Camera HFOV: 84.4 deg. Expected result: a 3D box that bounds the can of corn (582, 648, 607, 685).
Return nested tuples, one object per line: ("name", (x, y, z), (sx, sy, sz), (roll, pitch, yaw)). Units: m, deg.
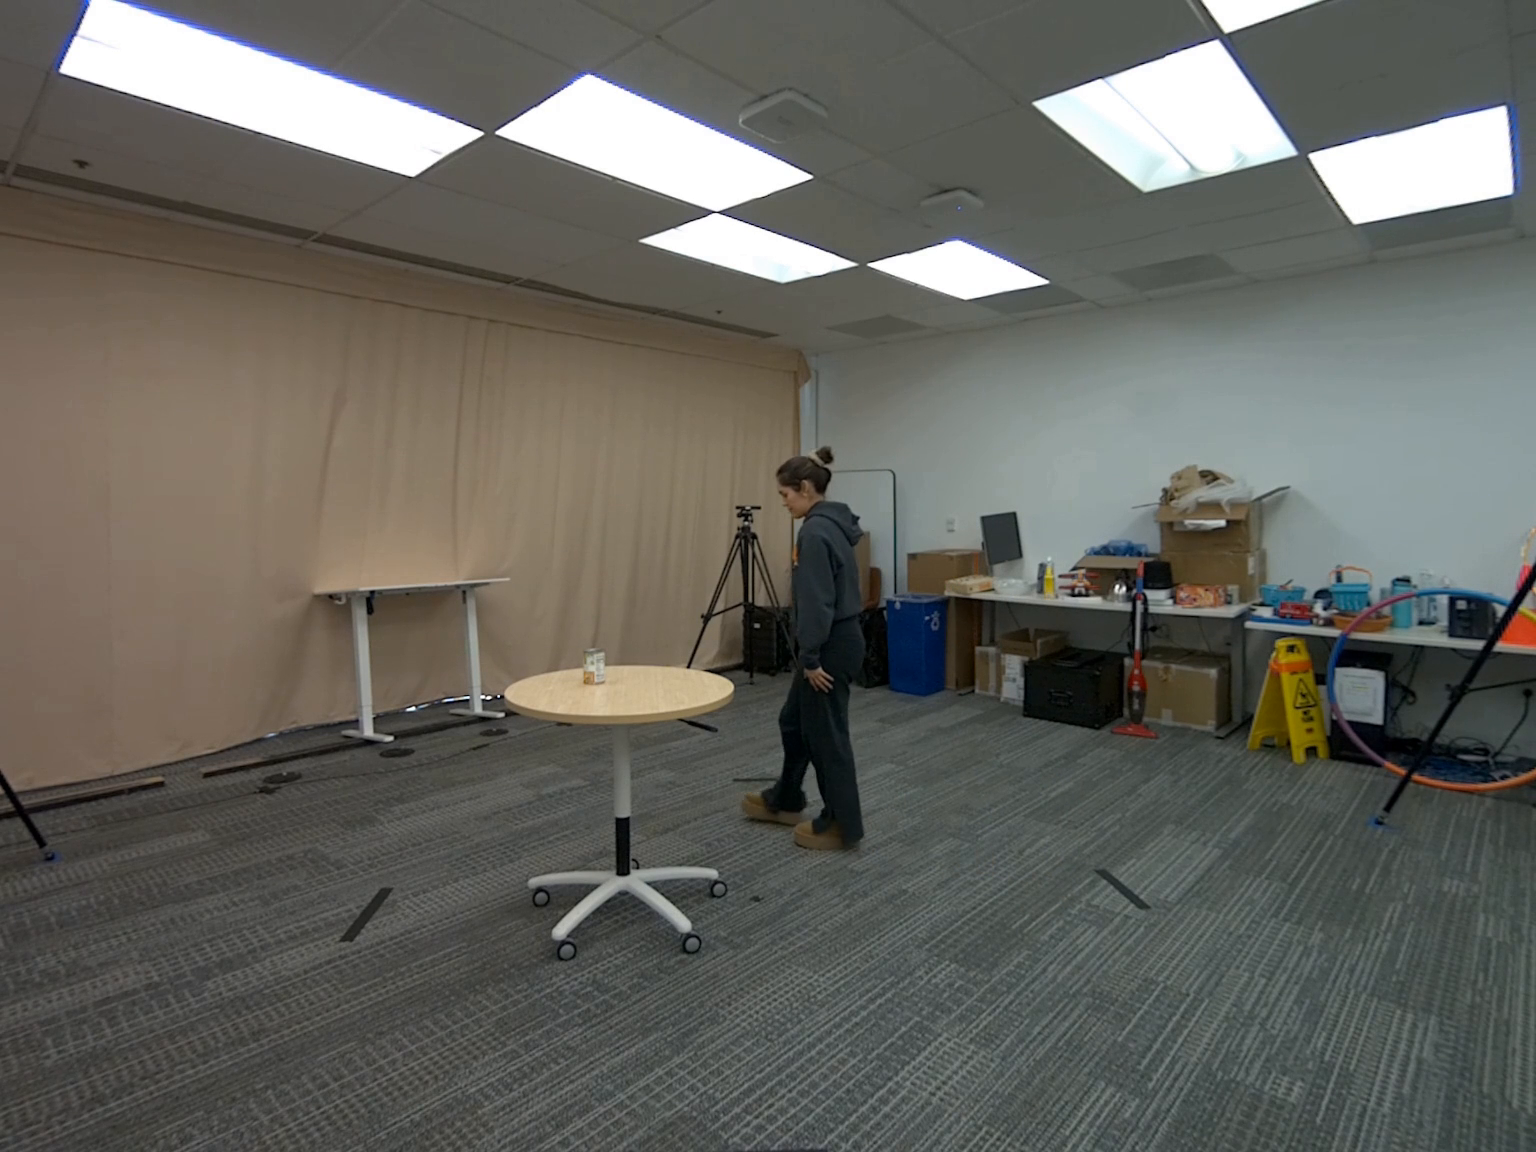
("can of corn", (-0.593, 0.323, 2.920), (0.074, 0.111, 0.074), (-2, 0, -2))
